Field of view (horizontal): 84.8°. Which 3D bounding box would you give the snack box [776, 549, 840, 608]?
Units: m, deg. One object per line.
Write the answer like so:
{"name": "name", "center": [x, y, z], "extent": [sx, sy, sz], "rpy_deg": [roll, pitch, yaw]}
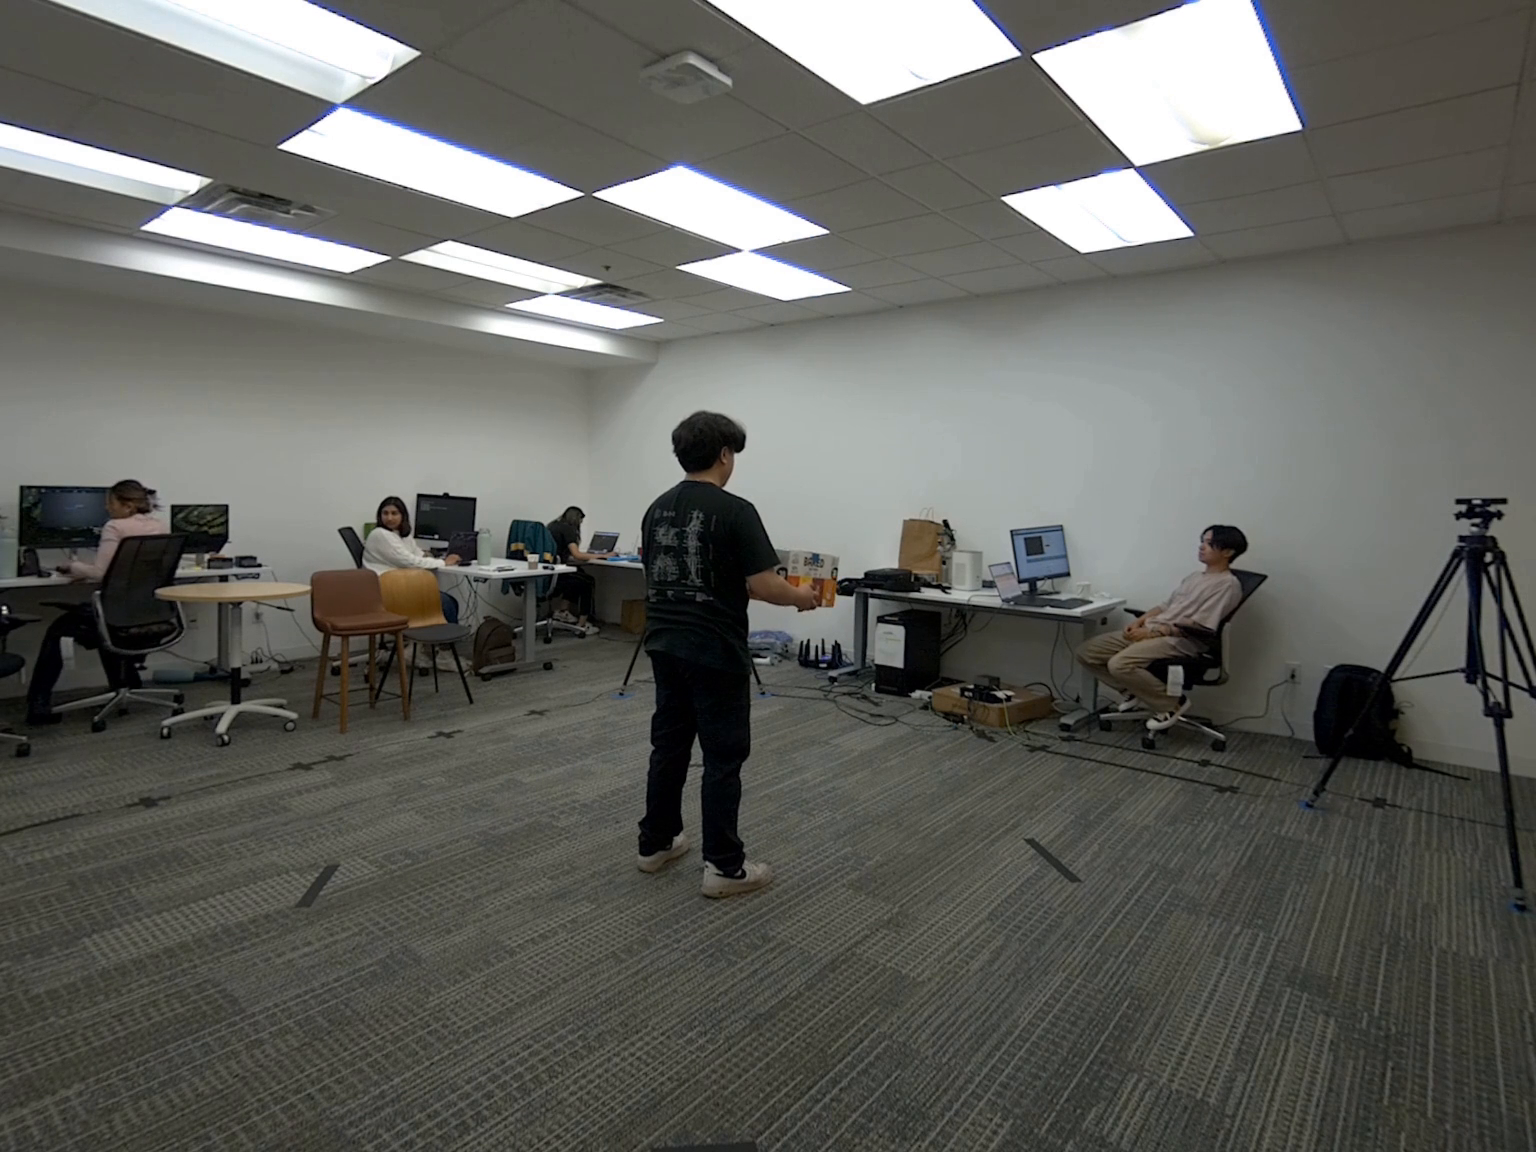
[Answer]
{"name": "snack box", "center": [-0.001, -0.003, 3.338], "extent": [0.419, 0.206, 0.328], "rpy_deg": [7, 0, 38]}
